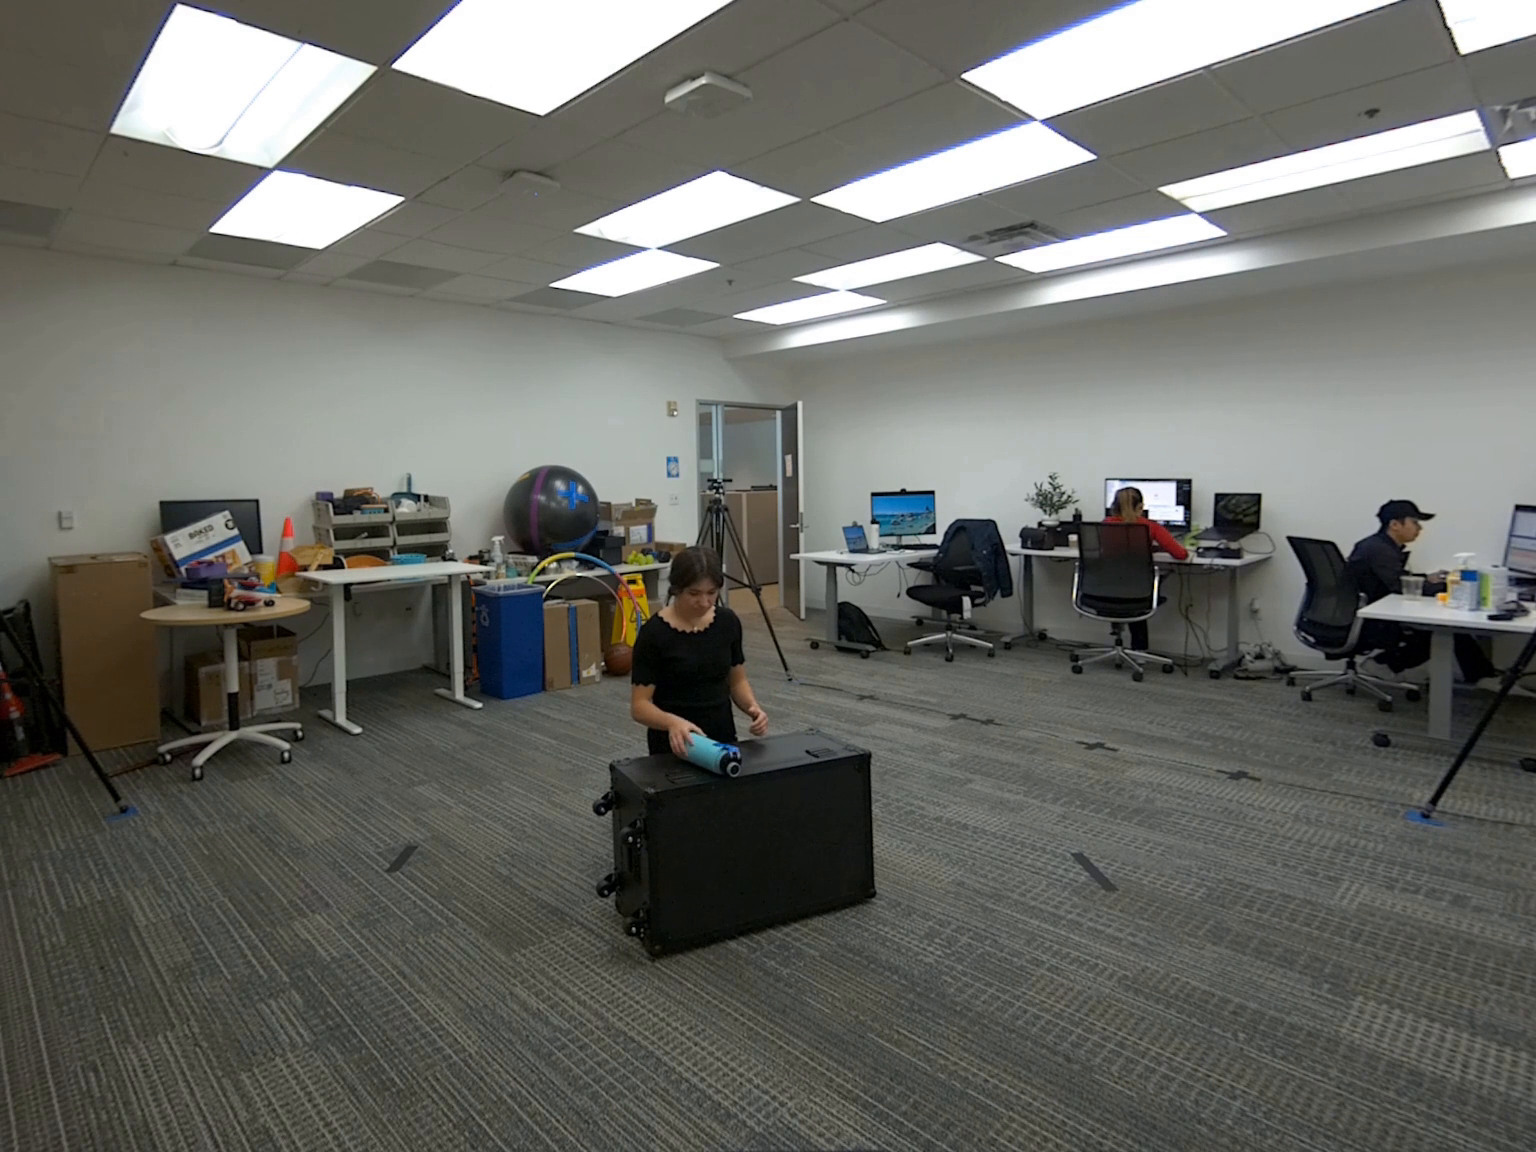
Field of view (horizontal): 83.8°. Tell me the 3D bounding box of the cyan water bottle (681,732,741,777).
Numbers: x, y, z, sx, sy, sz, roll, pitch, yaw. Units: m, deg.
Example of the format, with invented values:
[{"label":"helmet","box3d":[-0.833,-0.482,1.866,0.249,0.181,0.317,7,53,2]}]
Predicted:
[{"label":"cyan water bottle","box3d":[-0.177,0.560,2.675,0.090,0.092,0.291,-4,3,-33]}]
